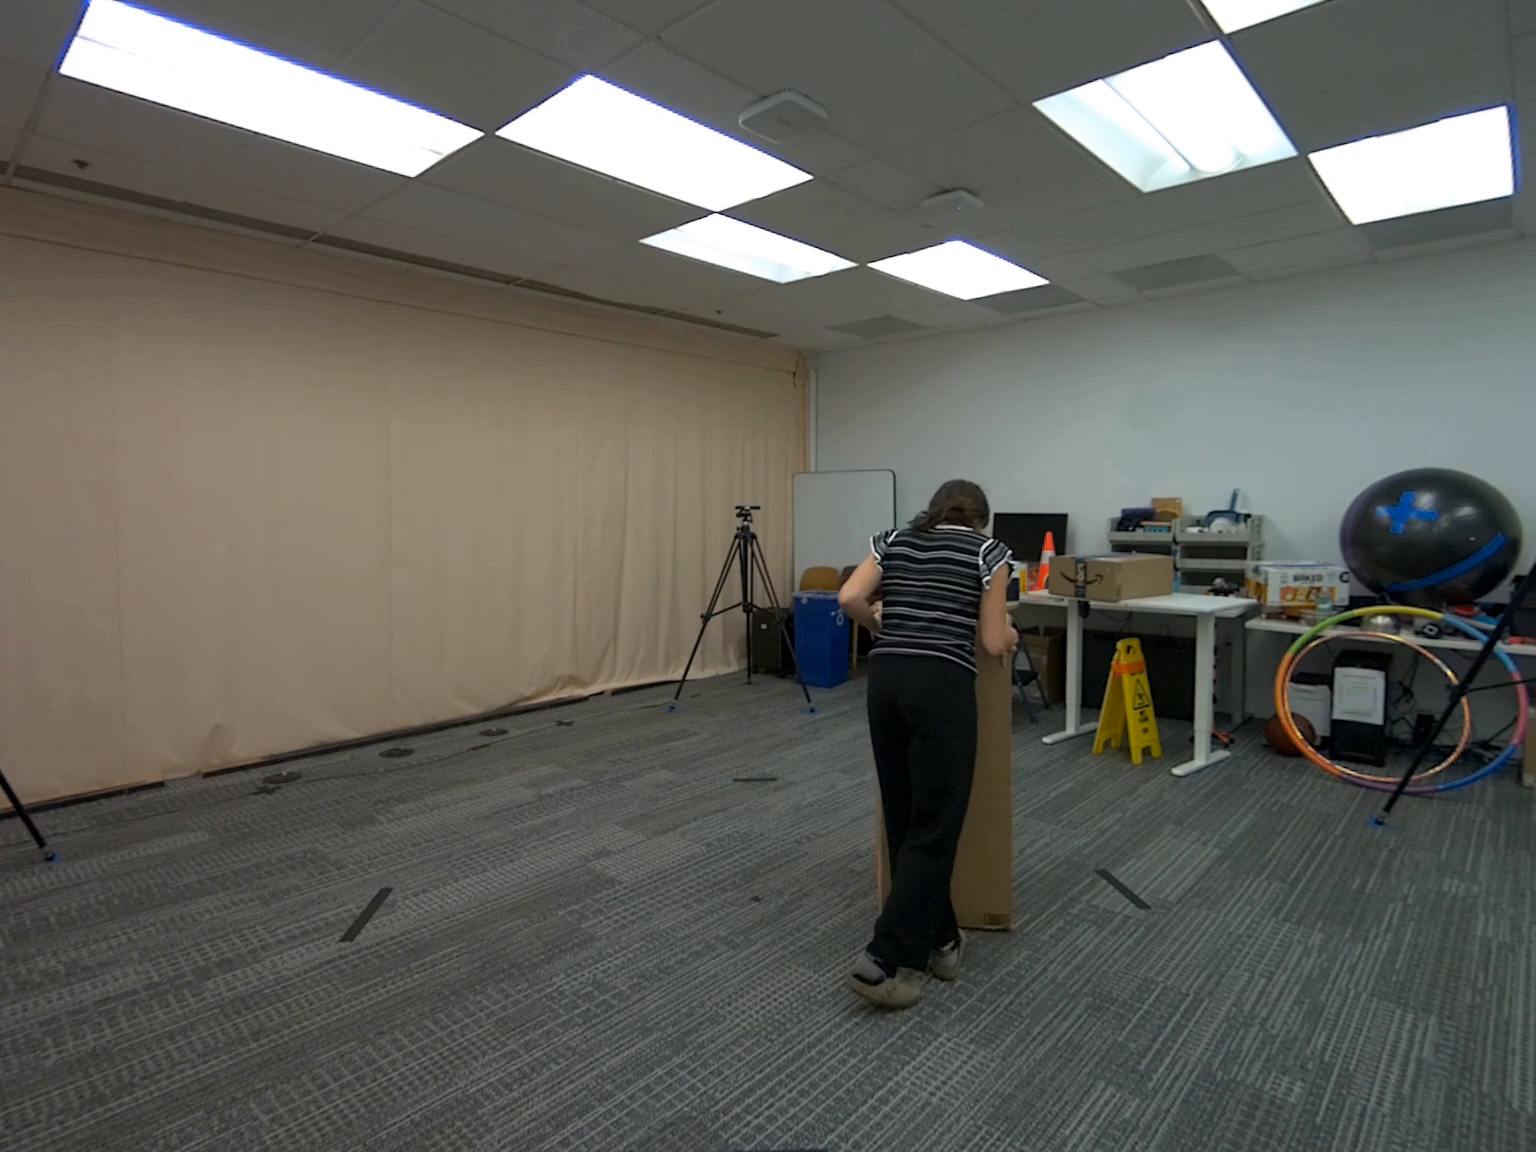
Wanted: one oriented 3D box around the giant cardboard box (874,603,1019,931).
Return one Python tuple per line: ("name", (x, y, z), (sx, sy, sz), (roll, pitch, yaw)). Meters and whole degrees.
("giant cardboard box", (0.618, 0.630, 3.040), (0.431, 1.025, 0.572), (-1, 2, 8))
